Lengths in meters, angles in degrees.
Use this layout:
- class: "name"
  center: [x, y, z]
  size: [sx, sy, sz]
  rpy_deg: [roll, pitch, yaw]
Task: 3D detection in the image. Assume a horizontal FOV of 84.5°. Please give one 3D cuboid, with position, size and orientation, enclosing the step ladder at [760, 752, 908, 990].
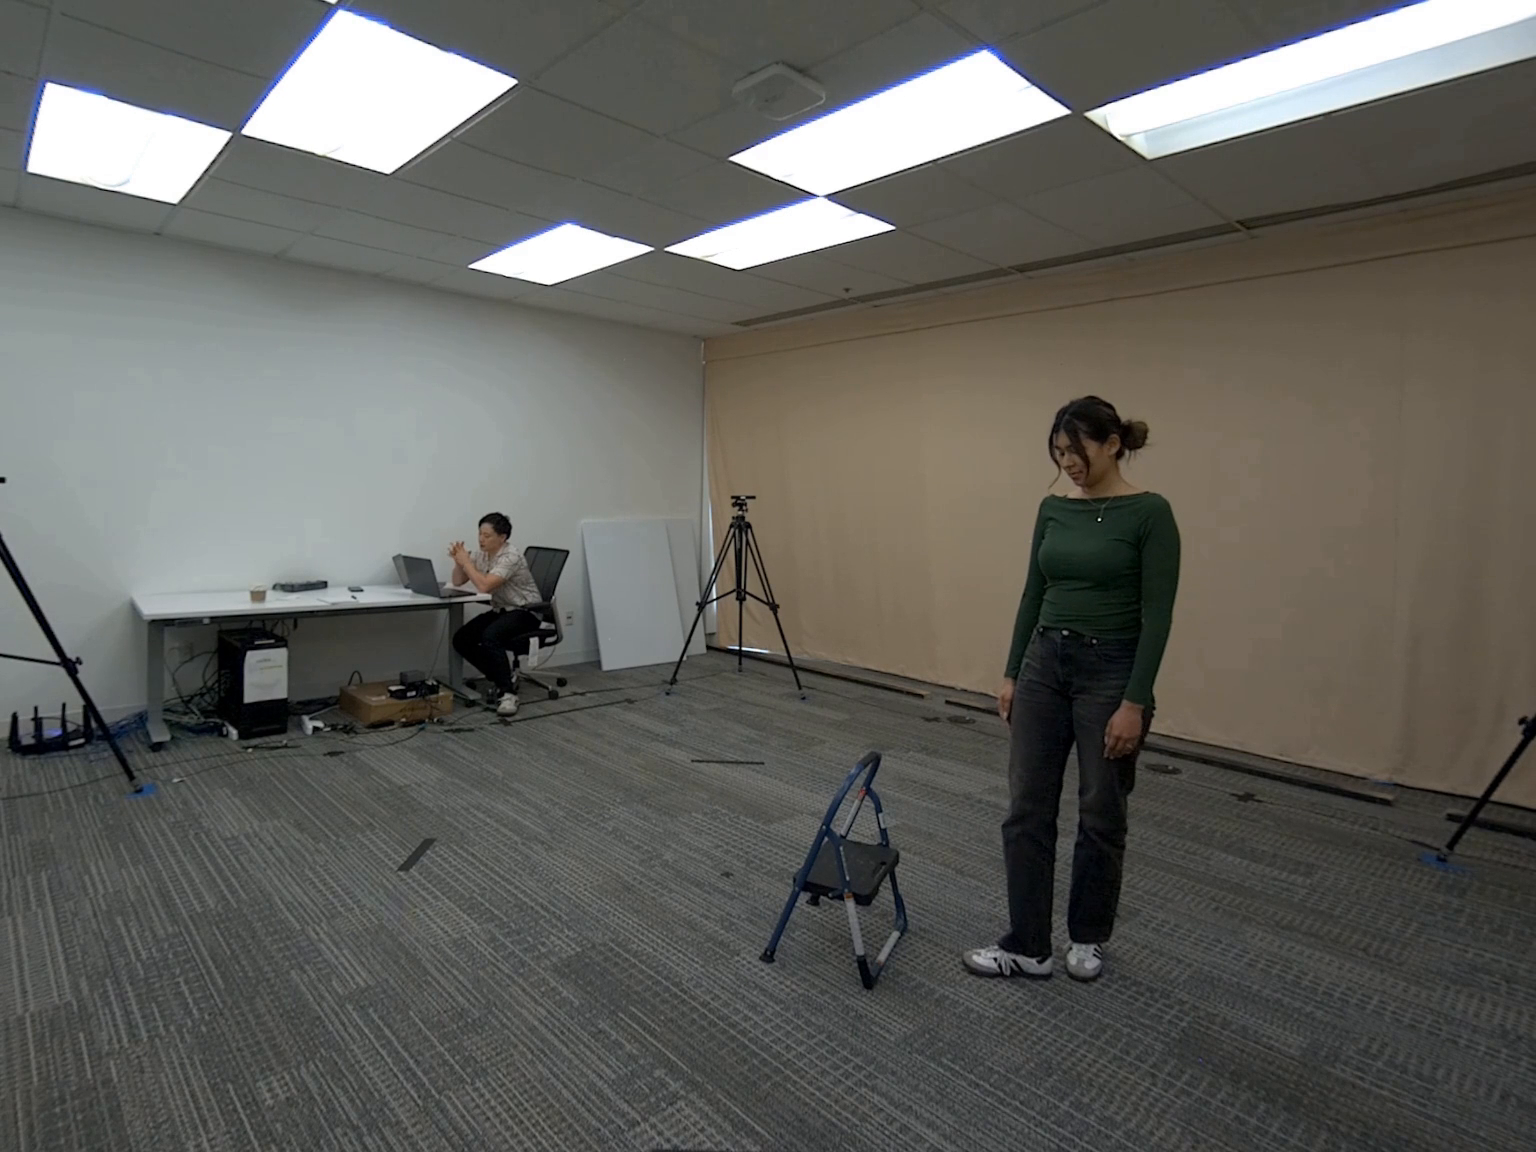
- class: "step ladder"
  center: [0.222, 0.851, 2.627]
  size: [0.356, 0.604, 0.423]
  rpy_deg: [4, 5, 25]
